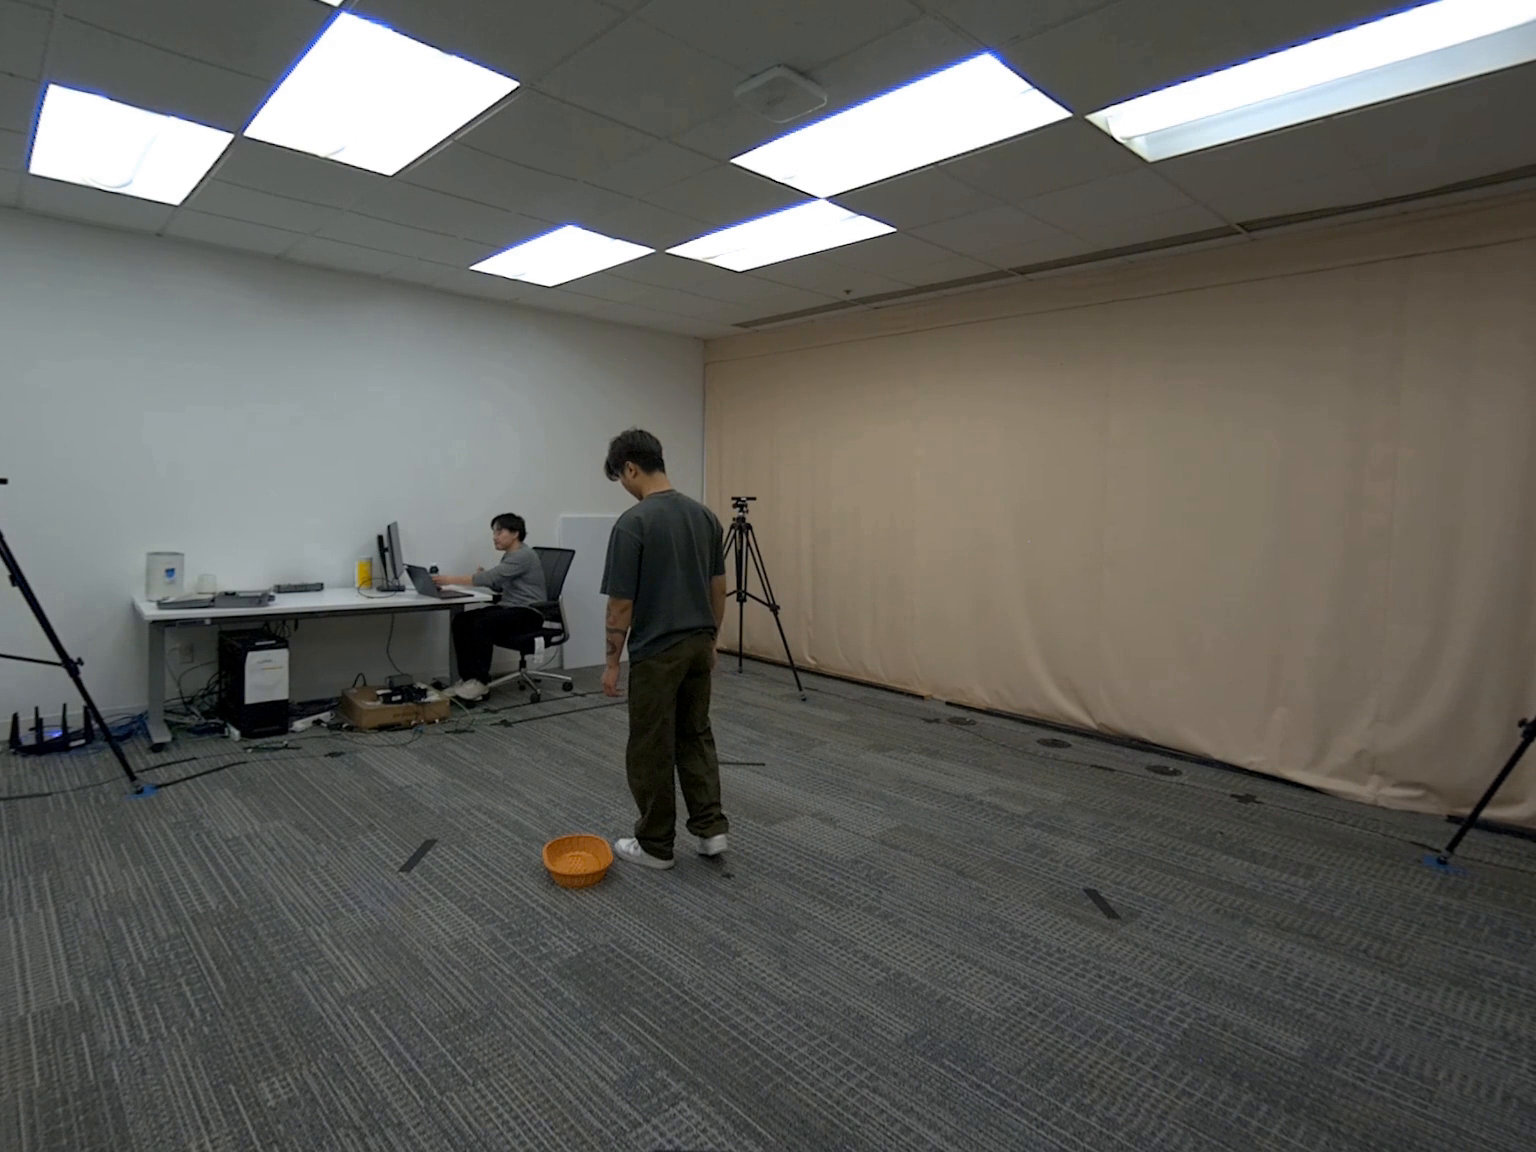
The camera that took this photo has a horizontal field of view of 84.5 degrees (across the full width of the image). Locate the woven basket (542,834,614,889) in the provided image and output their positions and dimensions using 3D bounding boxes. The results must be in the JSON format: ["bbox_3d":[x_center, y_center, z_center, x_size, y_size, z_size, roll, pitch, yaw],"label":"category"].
[{"bbox_3d":[-0.711,1.055,3.112,0.250,0.073,0.355,0,6,-13],"label":"woven basket"}]
